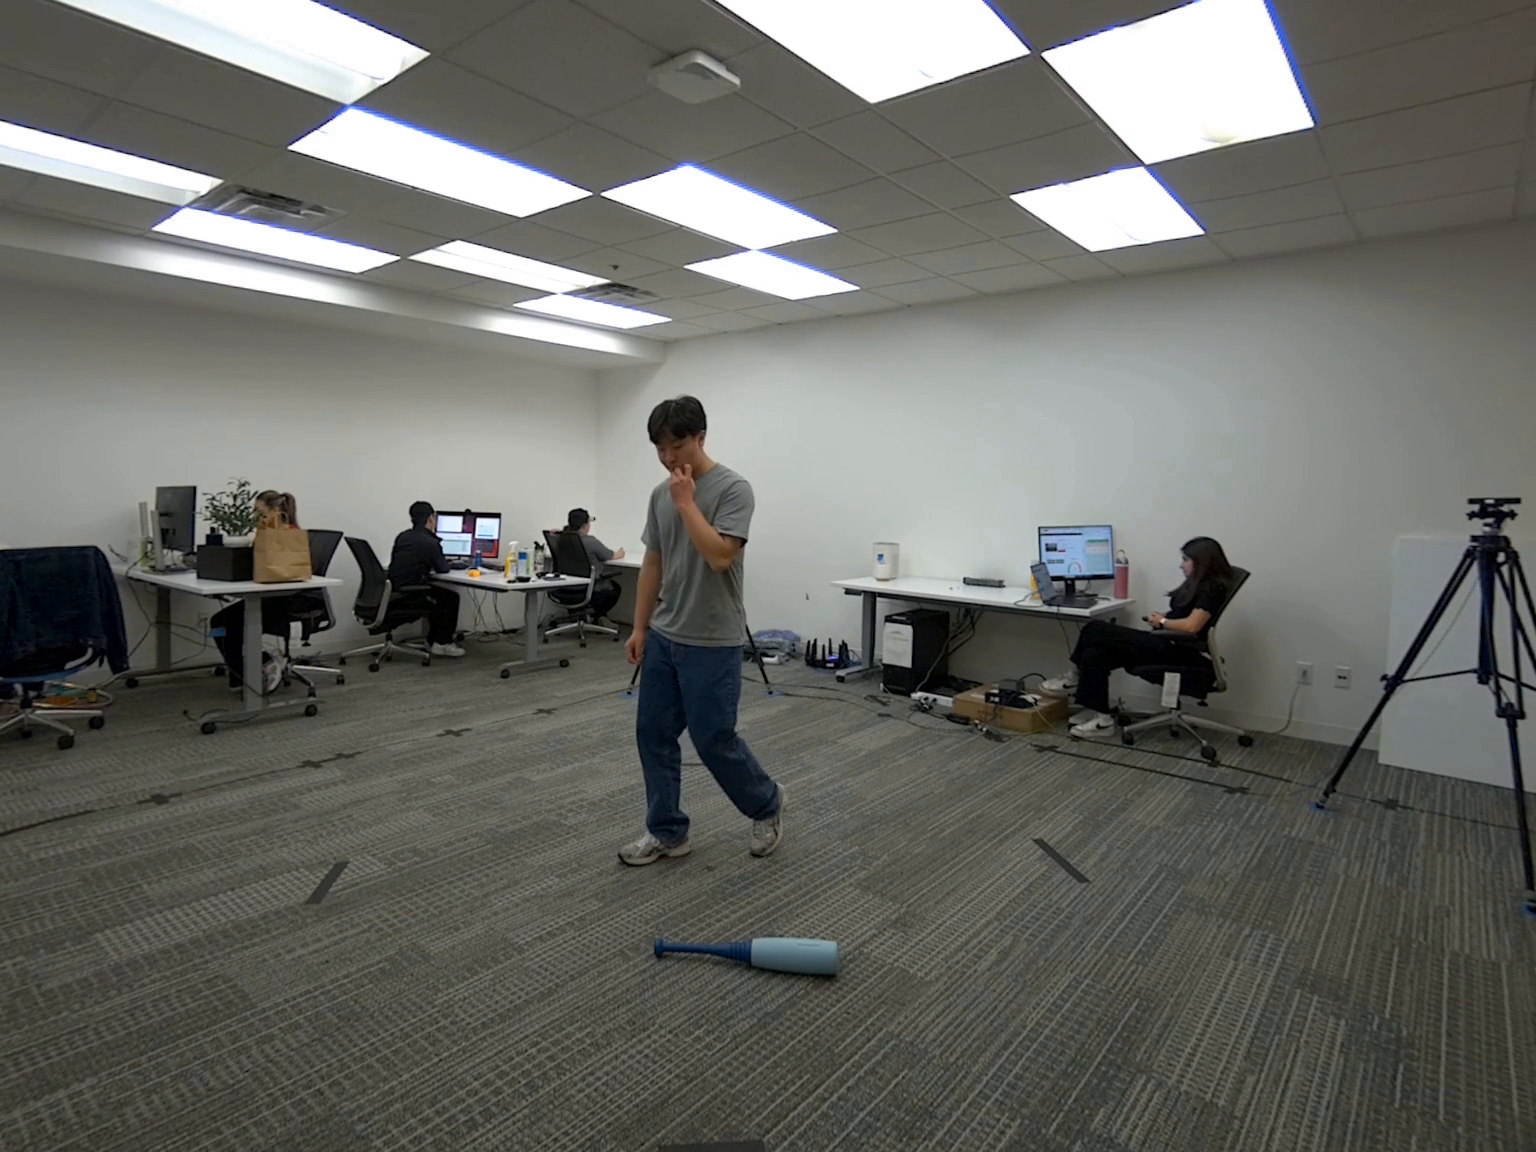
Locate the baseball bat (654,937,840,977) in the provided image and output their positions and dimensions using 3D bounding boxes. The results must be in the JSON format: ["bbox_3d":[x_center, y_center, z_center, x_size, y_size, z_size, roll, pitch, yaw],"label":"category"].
[{"bbox_3d":[-0.070,1.095,2.473,0.547,0.089,0.089,-1,4,7],"label":"baseball bat"}]
